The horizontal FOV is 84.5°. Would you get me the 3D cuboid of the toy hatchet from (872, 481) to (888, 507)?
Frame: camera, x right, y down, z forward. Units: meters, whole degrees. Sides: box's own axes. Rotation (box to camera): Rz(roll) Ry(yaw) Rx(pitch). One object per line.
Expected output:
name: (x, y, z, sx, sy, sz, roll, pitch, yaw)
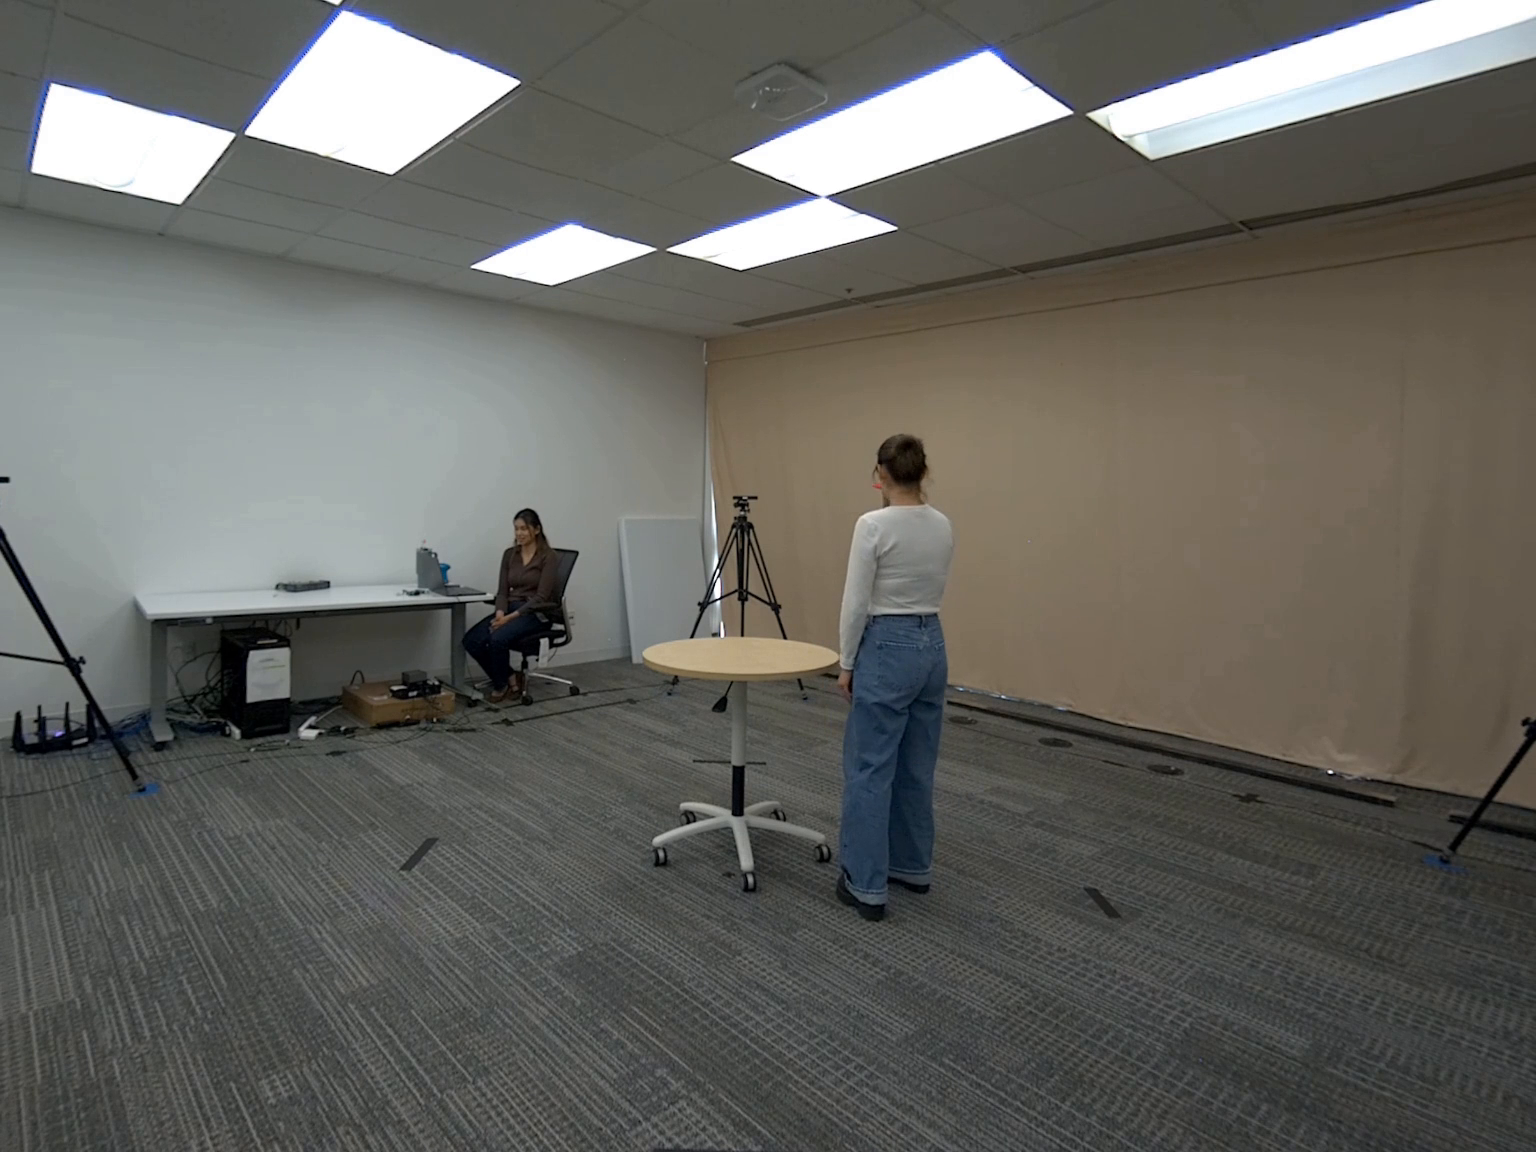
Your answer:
toy hatchet: (0.506, -0.253, 3.283, 0.130, 0.274, 0.029, -9, -19, -9)
